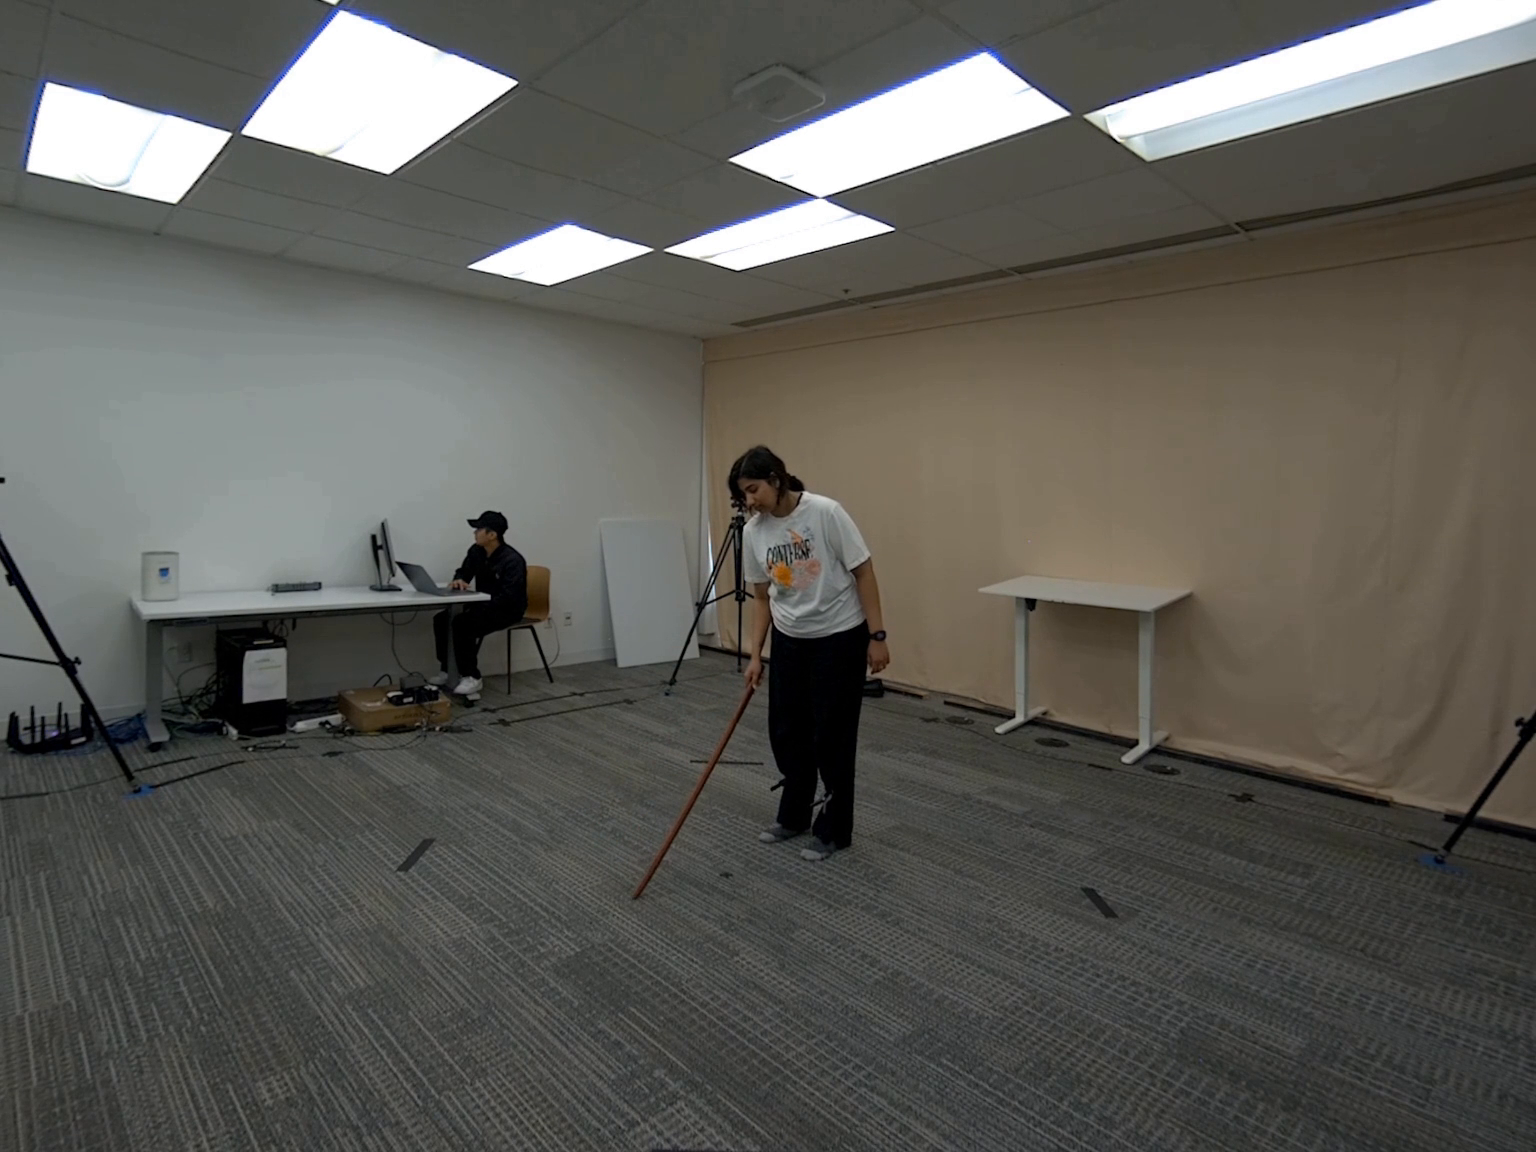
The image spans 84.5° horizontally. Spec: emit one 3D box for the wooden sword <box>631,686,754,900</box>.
[{"bbox_3d":[-0.250,0.746,3.177,0.052,1.030,0.023,21,-35,15],"label":"wooden sword"}]
